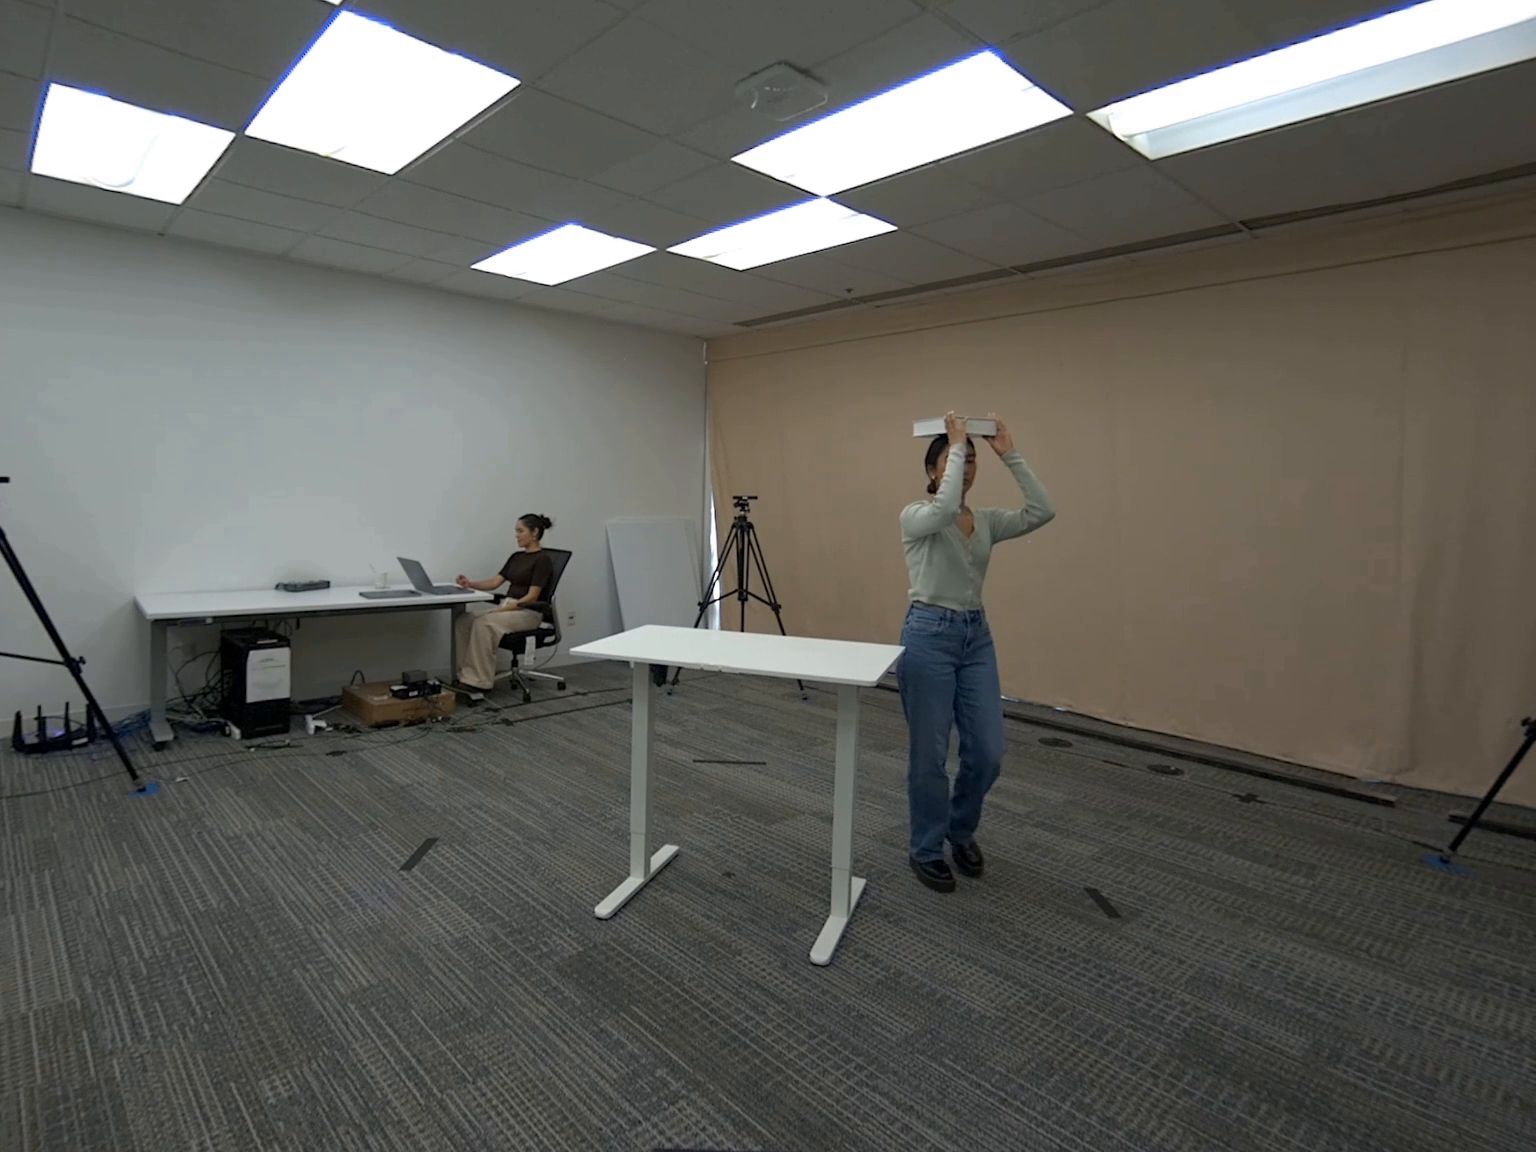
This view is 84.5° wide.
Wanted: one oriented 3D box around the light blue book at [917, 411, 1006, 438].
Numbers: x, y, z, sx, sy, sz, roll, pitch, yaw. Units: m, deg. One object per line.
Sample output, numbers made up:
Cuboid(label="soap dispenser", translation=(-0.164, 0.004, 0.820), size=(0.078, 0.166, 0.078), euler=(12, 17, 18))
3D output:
Cuboid(label="light blue book", translation=(0.694, -0.546, 3.067), size=(0.188, 0.059, 0.265), euler=(2, 3, -20))
